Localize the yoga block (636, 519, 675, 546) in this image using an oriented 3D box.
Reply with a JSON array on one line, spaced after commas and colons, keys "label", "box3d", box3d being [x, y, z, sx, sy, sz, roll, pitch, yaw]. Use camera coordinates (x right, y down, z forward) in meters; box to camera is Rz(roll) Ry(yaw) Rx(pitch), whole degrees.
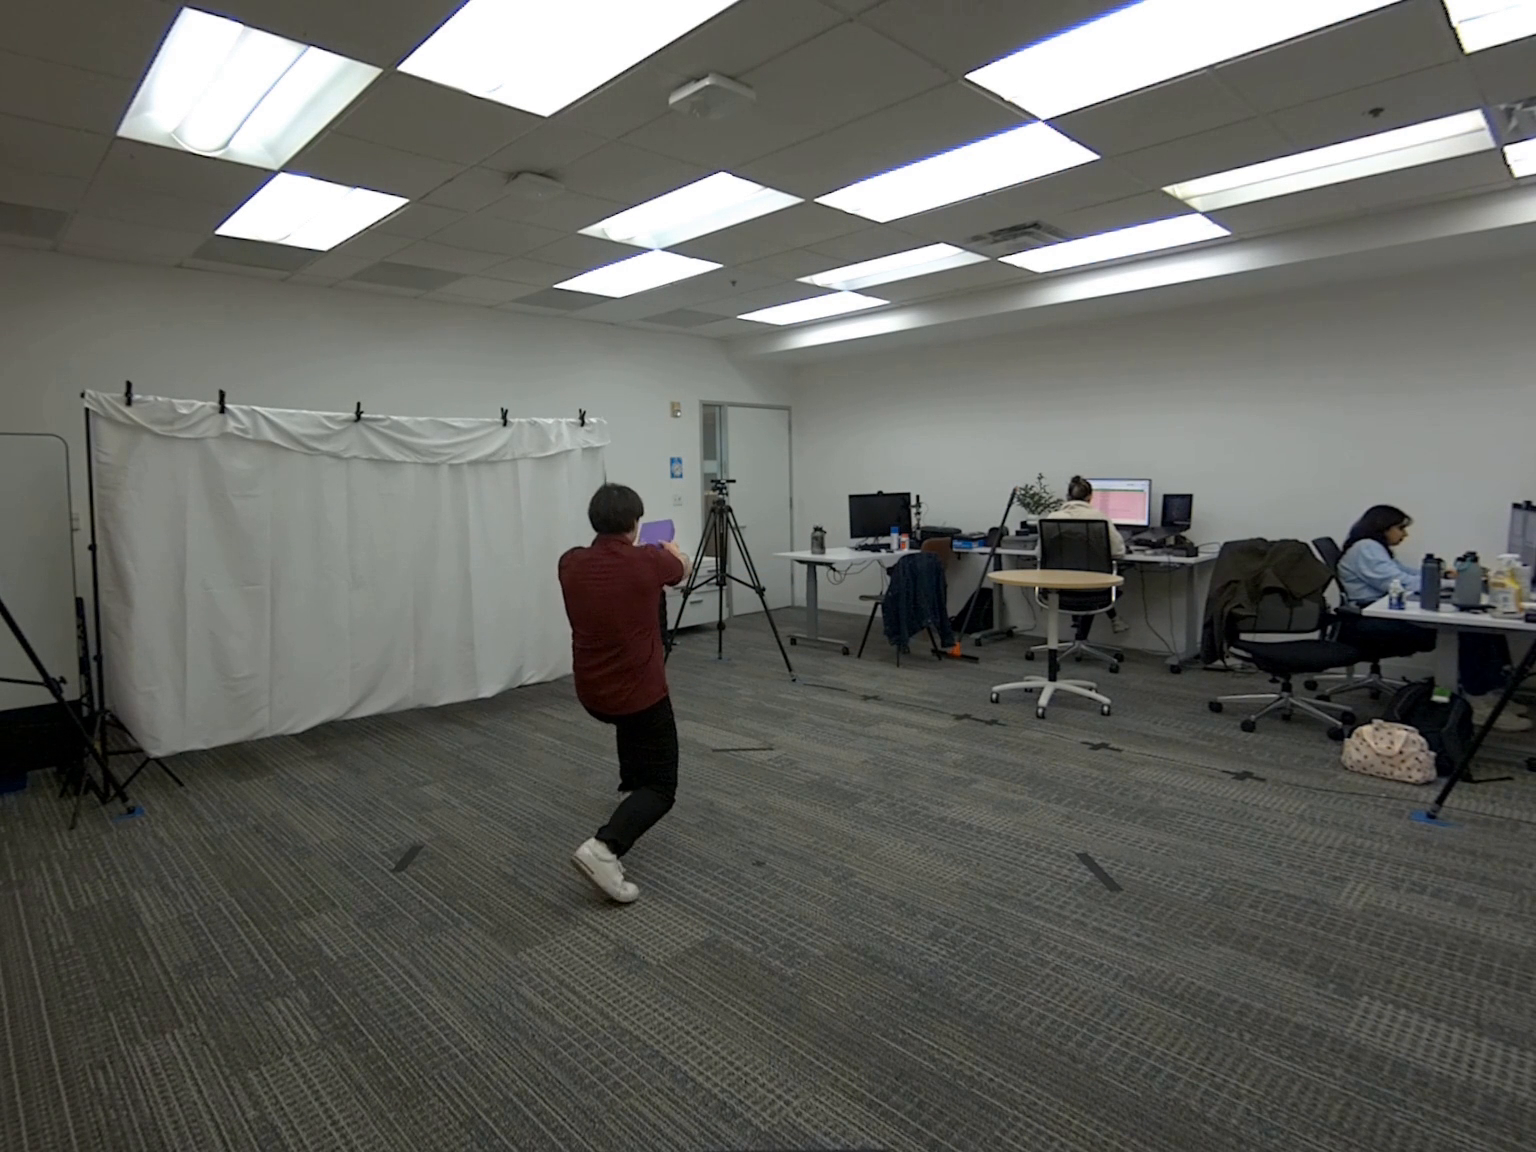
[{"label": "yoga block", "box3d": [-0.514, -0.157, 3.932, 0.150, 0.074, 0.234, -6, 33, 7]}]
